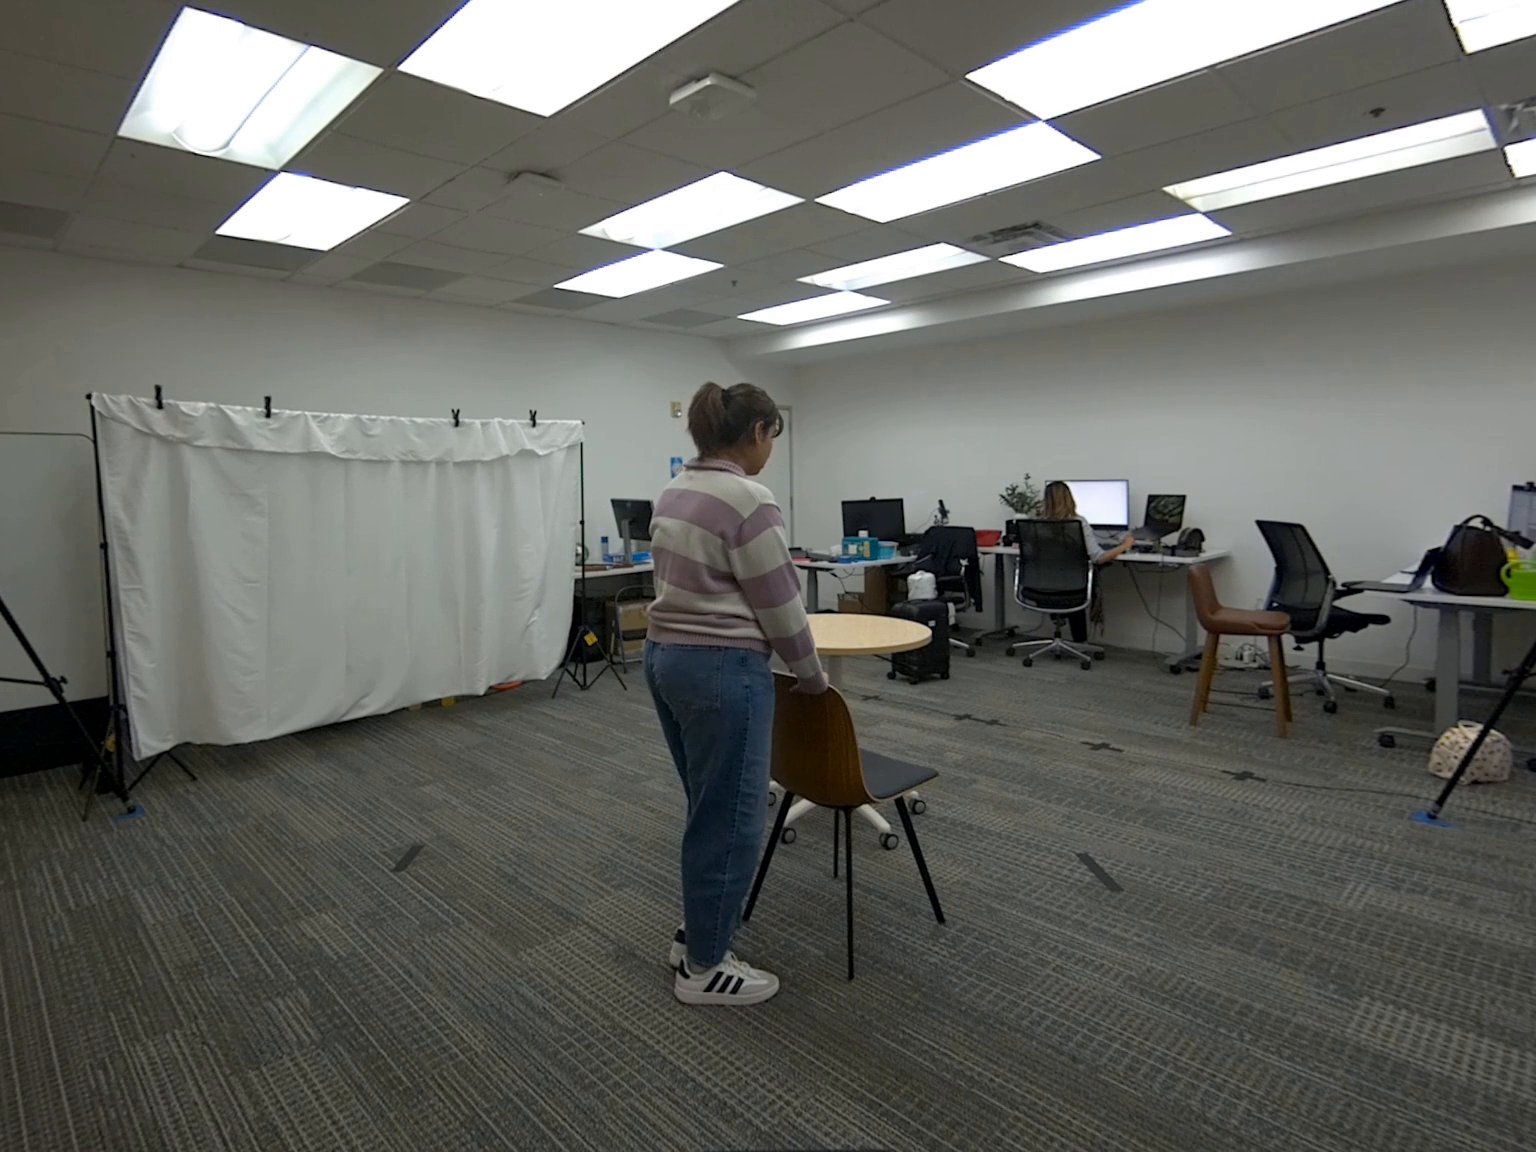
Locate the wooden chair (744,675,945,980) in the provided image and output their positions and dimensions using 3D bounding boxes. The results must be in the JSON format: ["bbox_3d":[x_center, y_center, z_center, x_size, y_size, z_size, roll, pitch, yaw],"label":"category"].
[{"bbox_3d":[0.235,0.662,2.674,0.511,0.871,0.493,-11,10,-42],"label":"wooden chair"}]
